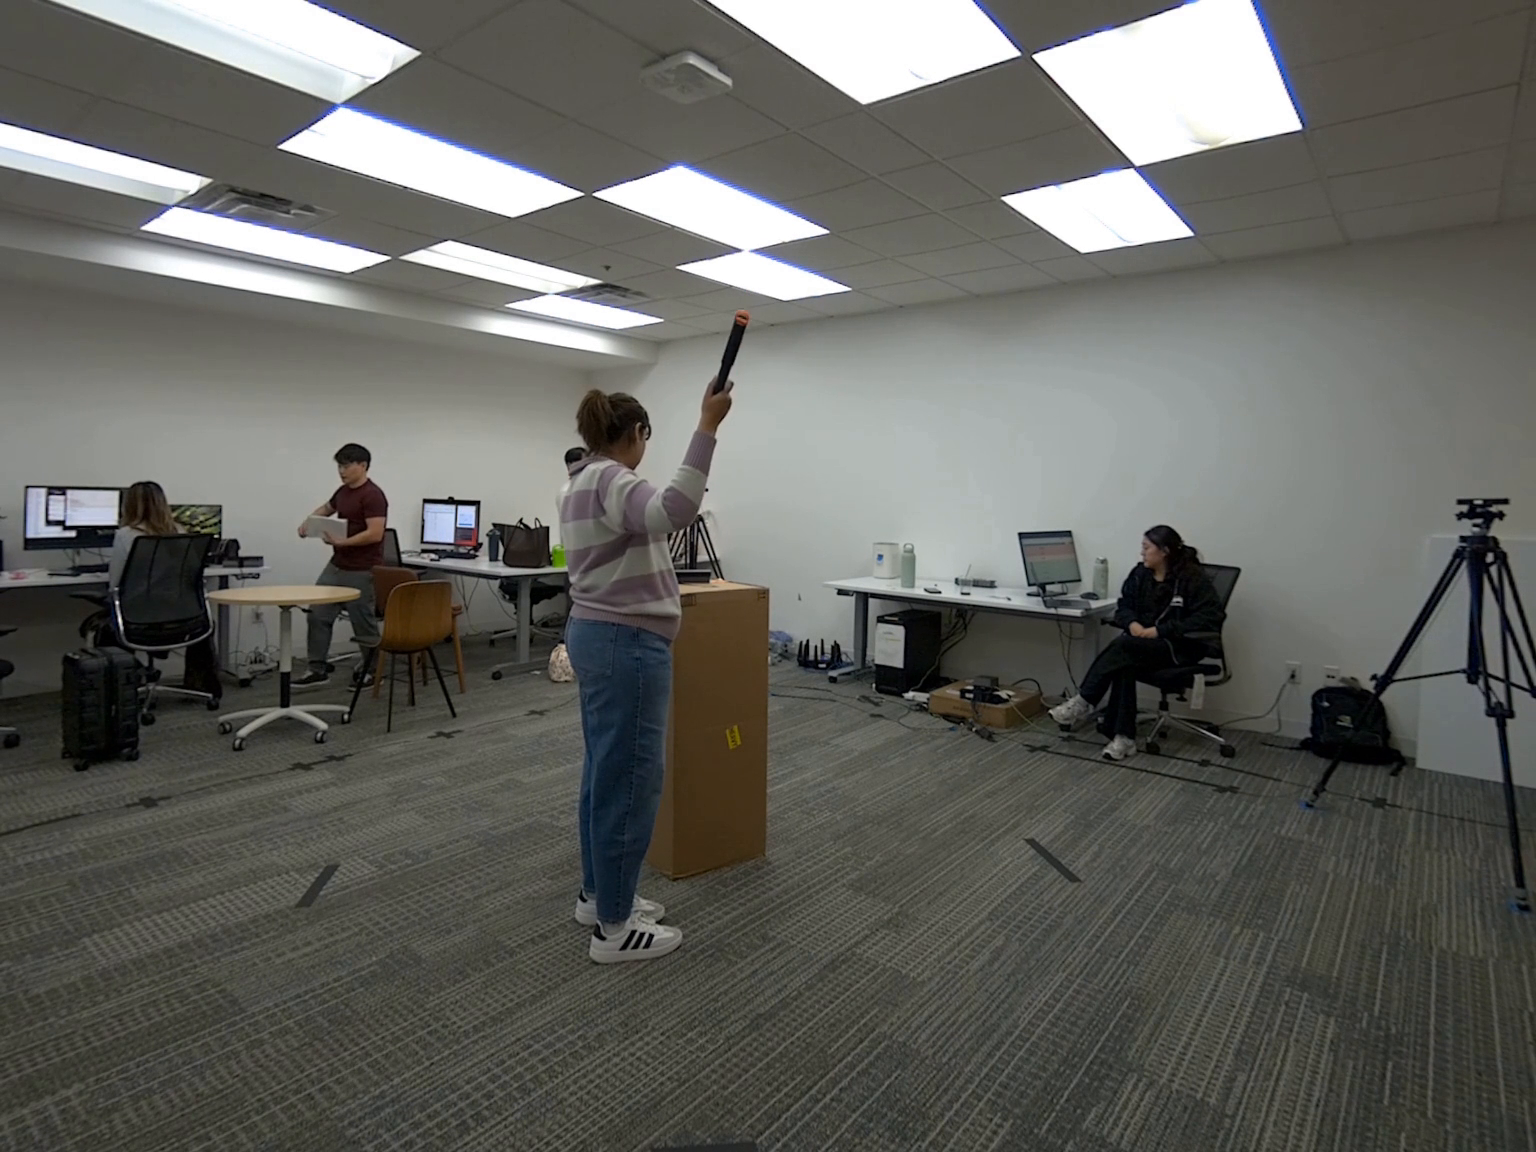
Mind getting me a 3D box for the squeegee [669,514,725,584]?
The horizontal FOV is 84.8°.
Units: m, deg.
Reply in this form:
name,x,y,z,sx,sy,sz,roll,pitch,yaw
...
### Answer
name,x,y,z,sx,sy,sz,roll,pitch,yaw
squeegee,-0.239,-0.304,2.663,0.432,0.054,1.519,-1,-25,-14
